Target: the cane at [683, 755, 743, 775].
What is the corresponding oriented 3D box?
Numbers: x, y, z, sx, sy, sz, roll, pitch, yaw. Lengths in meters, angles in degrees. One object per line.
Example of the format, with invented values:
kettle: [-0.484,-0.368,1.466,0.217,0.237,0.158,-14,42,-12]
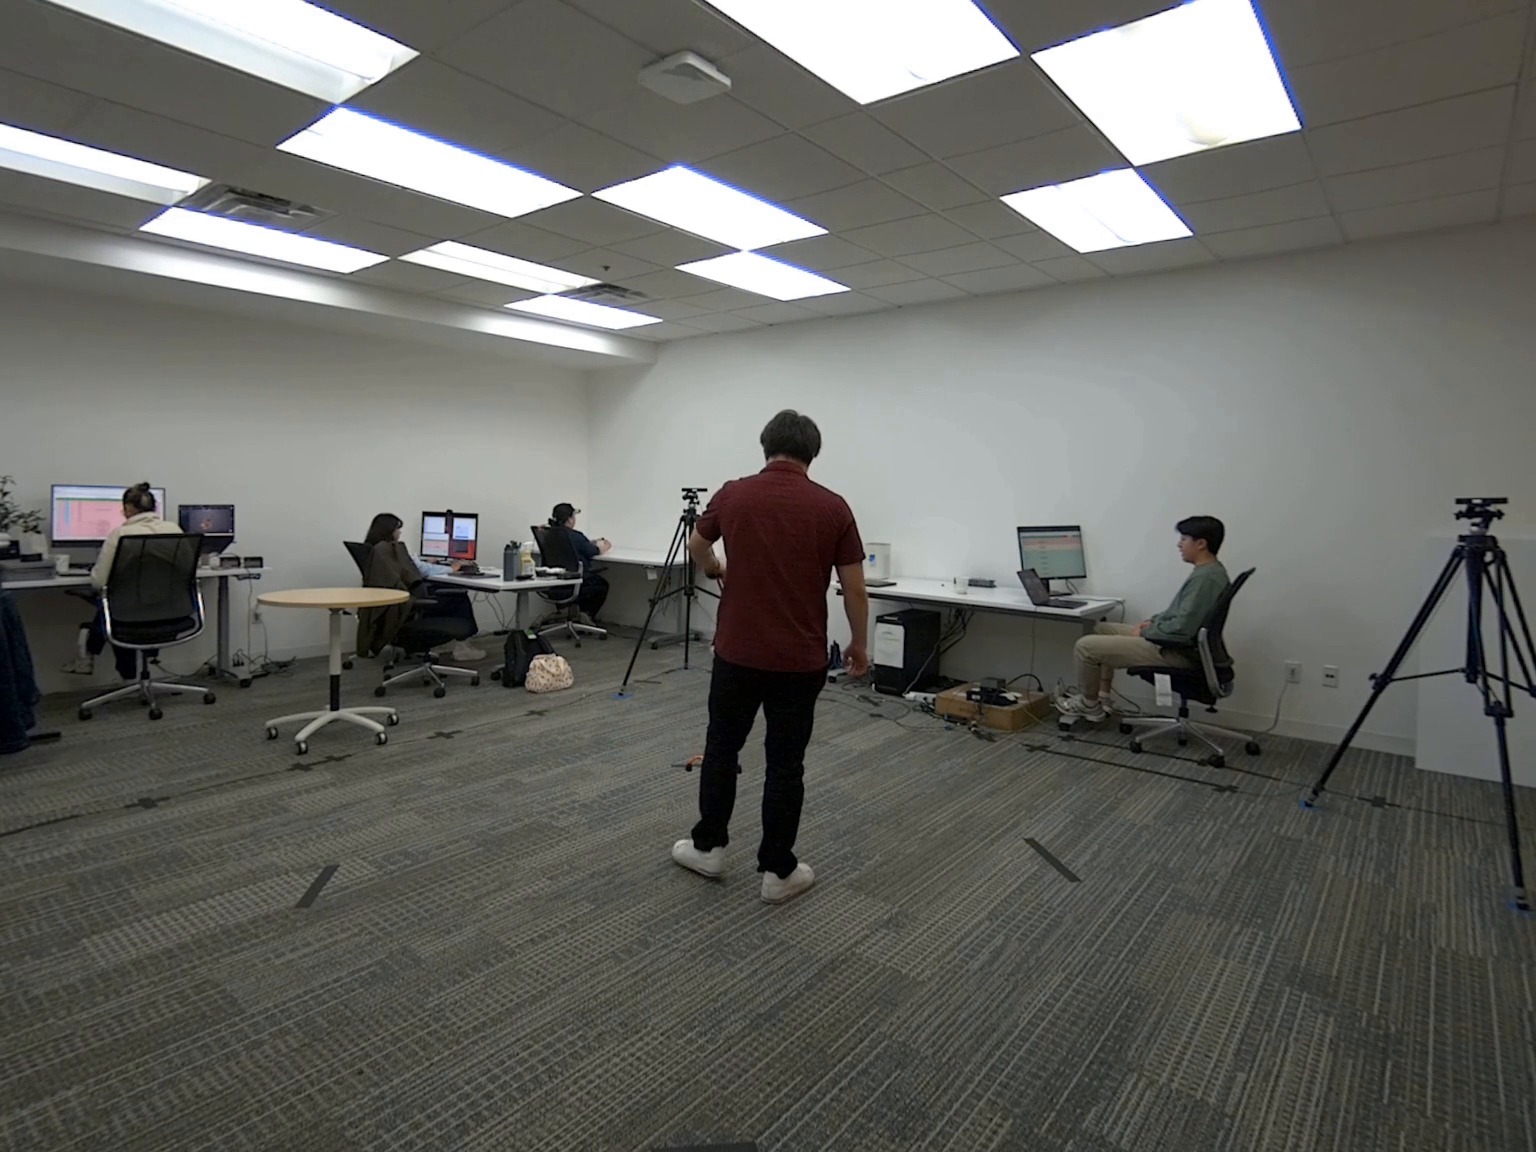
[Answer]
cane: [-0.207,0.406,3.512,0.201,0.896,0.158,-6,18,-36]
